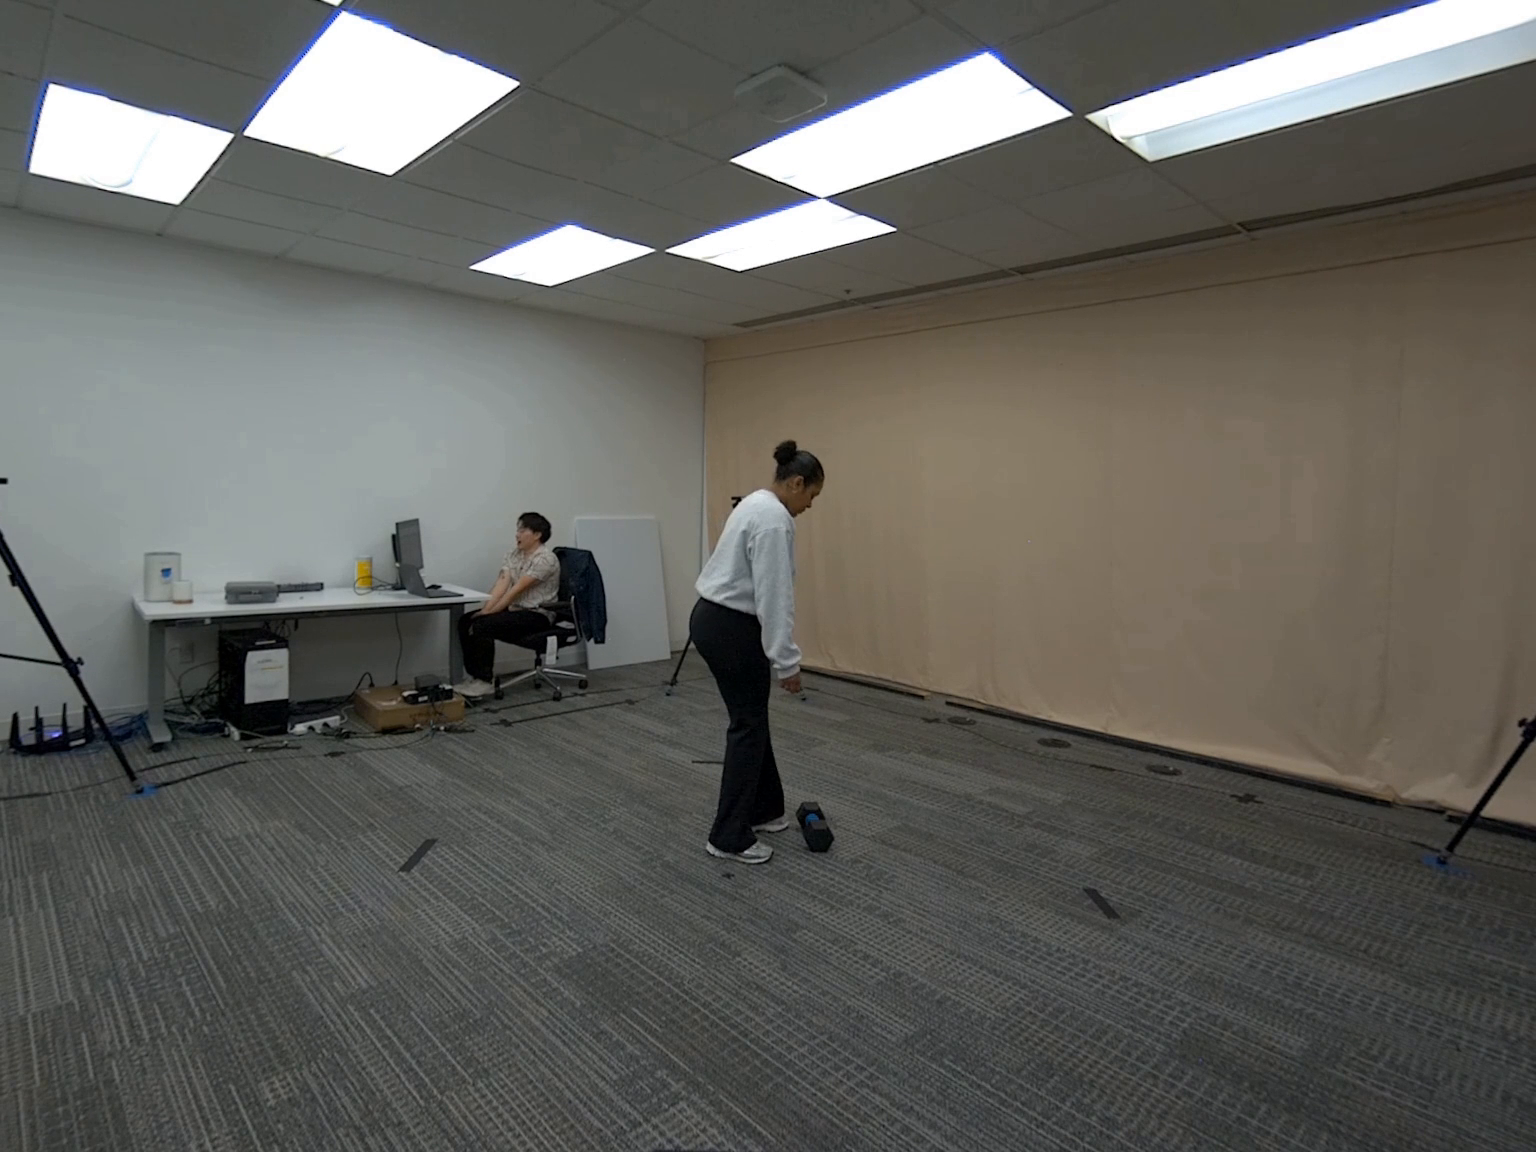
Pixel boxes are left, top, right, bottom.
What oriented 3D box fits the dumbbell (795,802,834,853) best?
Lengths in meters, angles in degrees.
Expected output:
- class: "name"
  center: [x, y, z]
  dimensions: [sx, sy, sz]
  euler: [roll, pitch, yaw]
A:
- class: "dumbbell"
  center: [0.177, 1.028, 3.466]
  dimensions: [0.108, 0.123, 0.295]
  euler: [32, 1, -7]
